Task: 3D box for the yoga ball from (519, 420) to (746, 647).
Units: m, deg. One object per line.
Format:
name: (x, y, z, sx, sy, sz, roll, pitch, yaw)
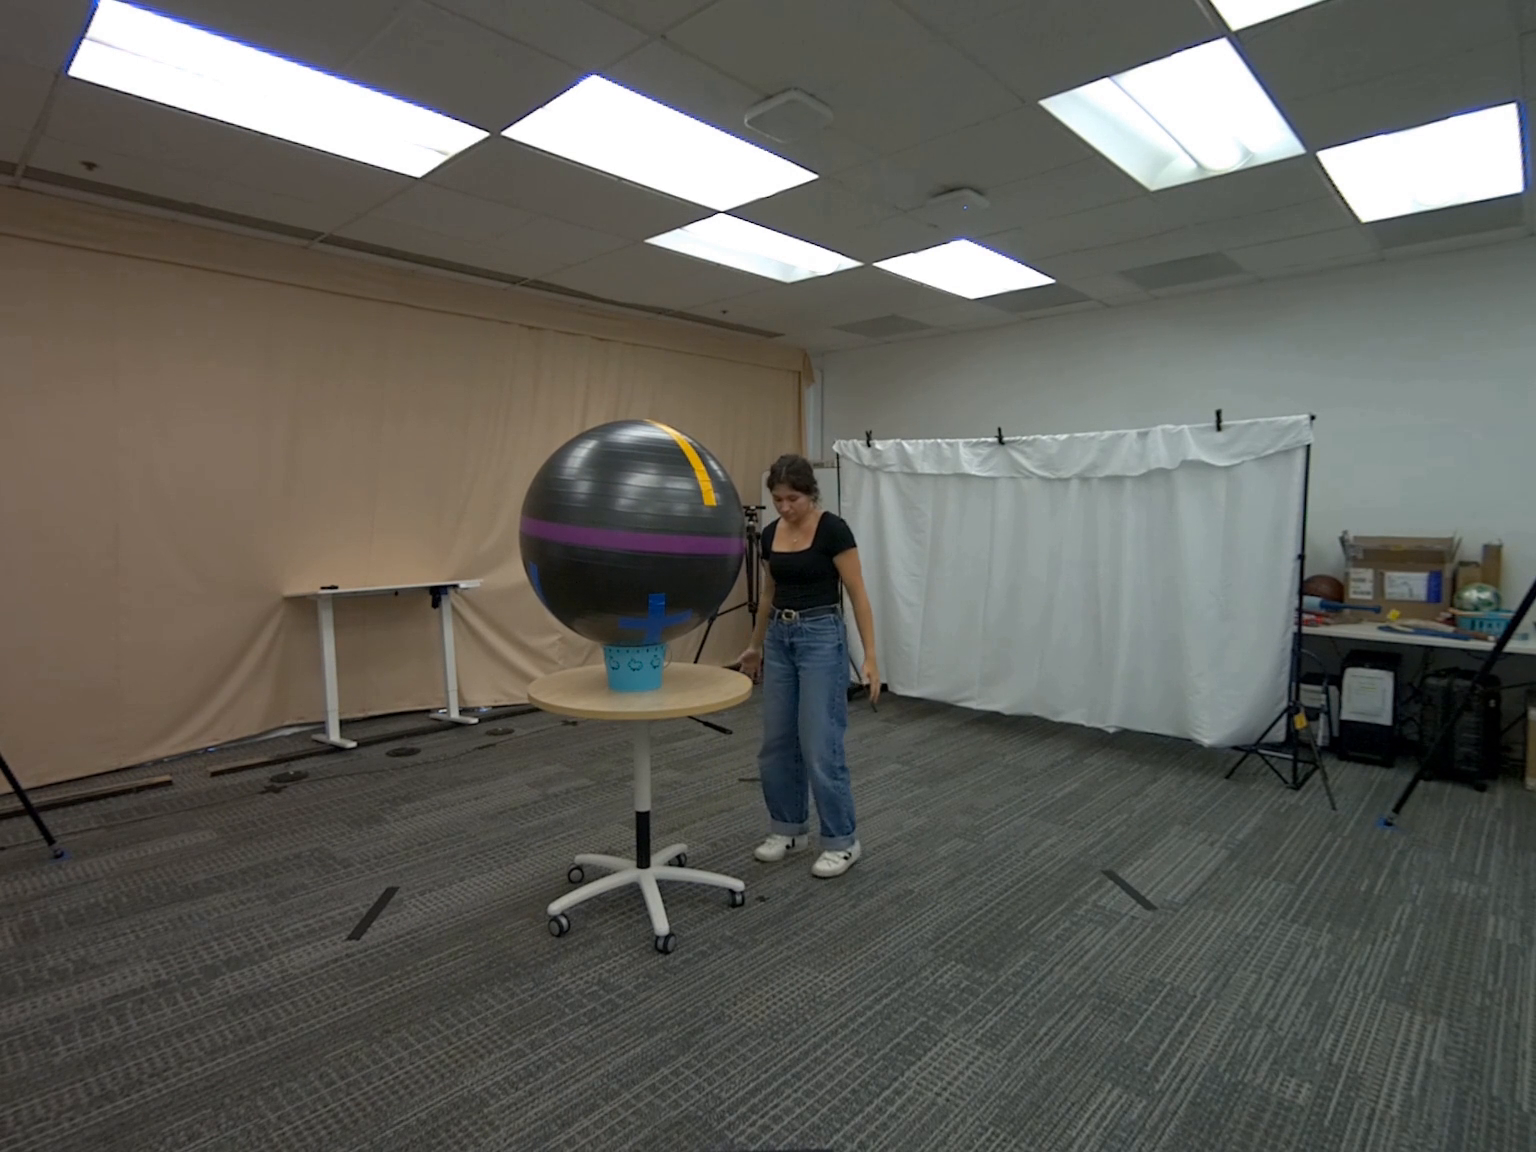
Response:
yoga ball: (-0.464, -0.139, 2.835, 0.757, 0.756, 0.760, 0, 4, -2)
